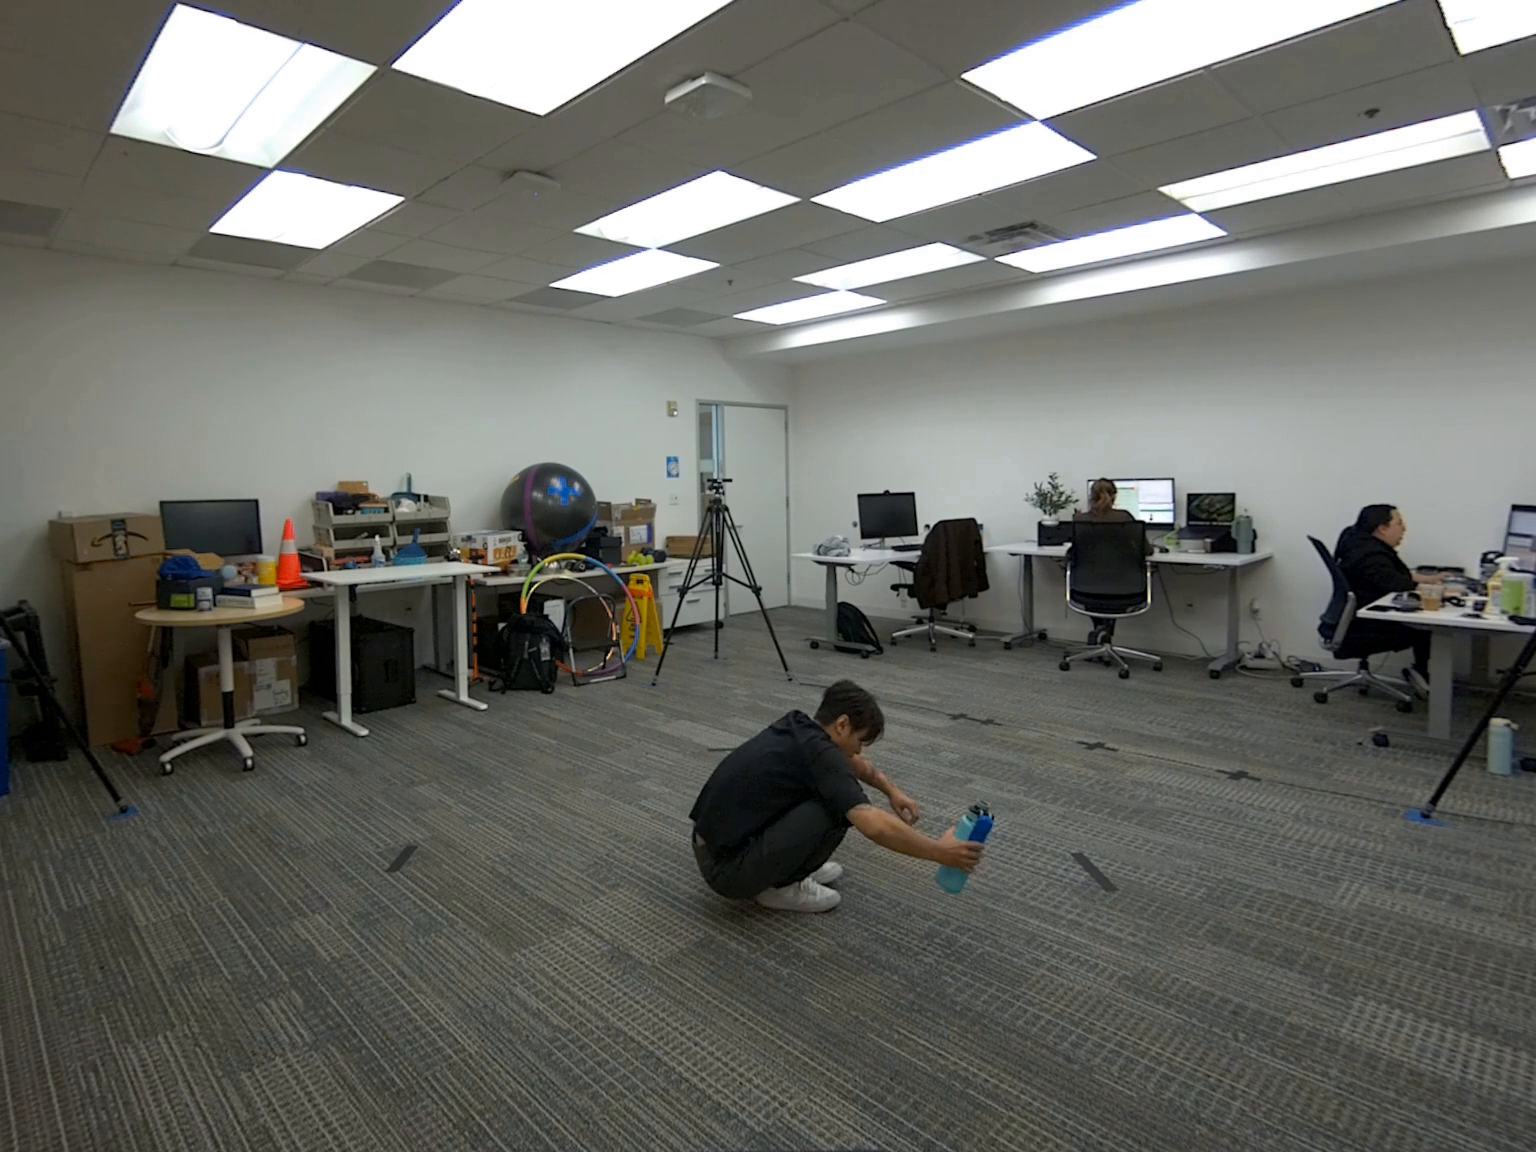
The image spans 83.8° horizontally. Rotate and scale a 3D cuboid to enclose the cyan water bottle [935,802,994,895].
[{"bbox_3d":[0.597,0.801,2.571,0.092,0.282,0.093,19,10,-5],"label":"cyan water bottle"}]
